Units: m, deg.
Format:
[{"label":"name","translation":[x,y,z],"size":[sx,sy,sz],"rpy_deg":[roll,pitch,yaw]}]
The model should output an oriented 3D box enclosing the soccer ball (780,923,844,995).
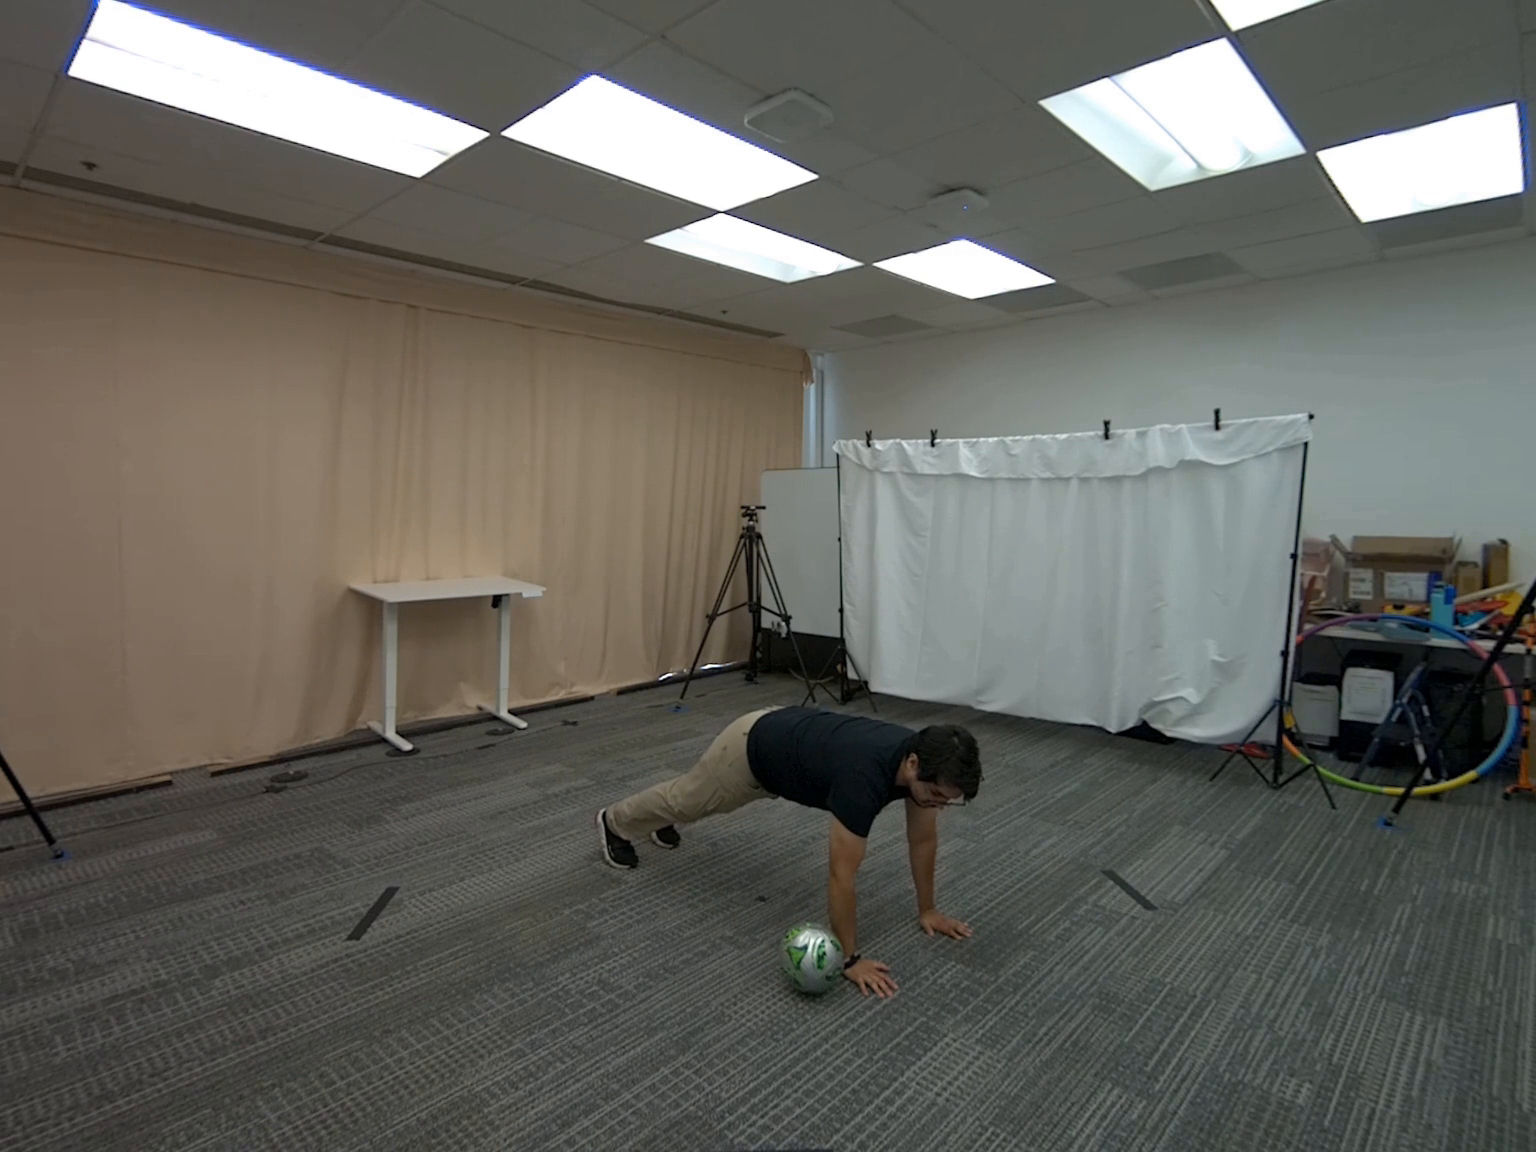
[{"label":"soccer ball","translation":[0.128,1.102,2.417],"size":[0.187,0.187,0.188],"rpy_deg":[0,4,-2]}]
